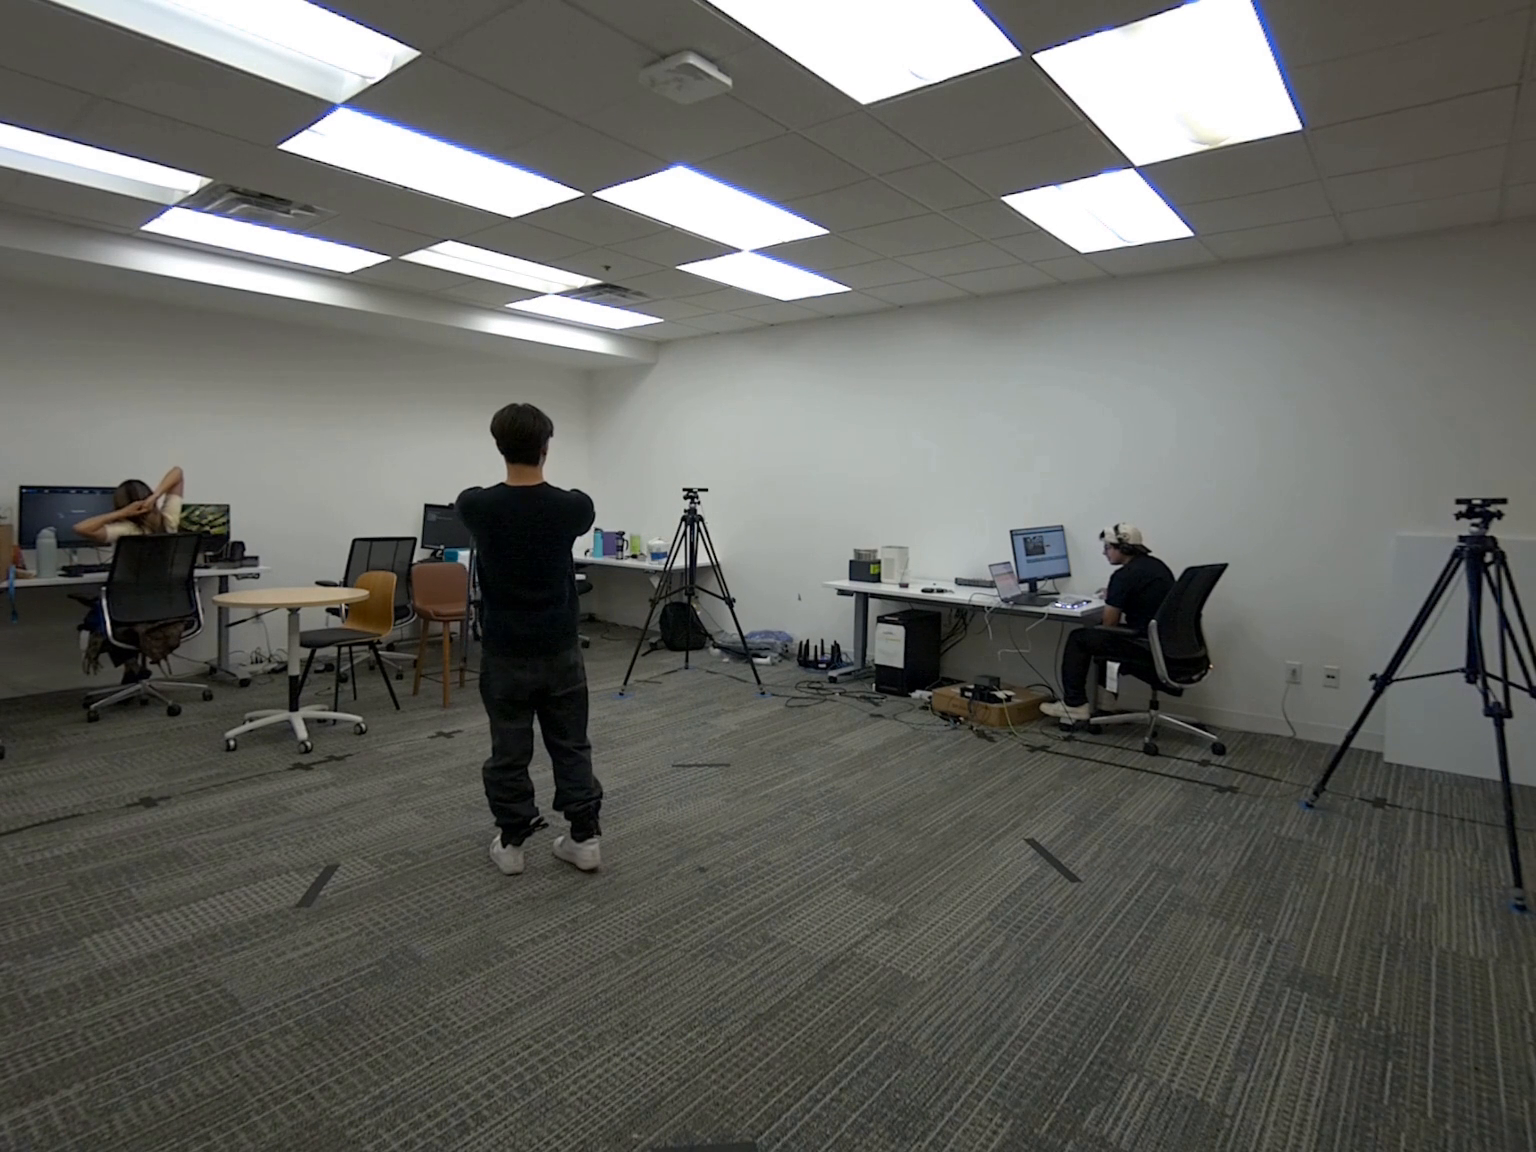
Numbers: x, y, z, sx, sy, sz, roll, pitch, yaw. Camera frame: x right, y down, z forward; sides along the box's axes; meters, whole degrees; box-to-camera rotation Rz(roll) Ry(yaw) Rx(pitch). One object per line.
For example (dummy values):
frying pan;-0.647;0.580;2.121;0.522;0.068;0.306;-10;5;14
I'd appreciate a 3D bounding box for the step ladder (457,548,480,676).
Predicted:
step ladder;-1.046;0.037;3.543;0.426;0.600;0.357;1;12;-11
